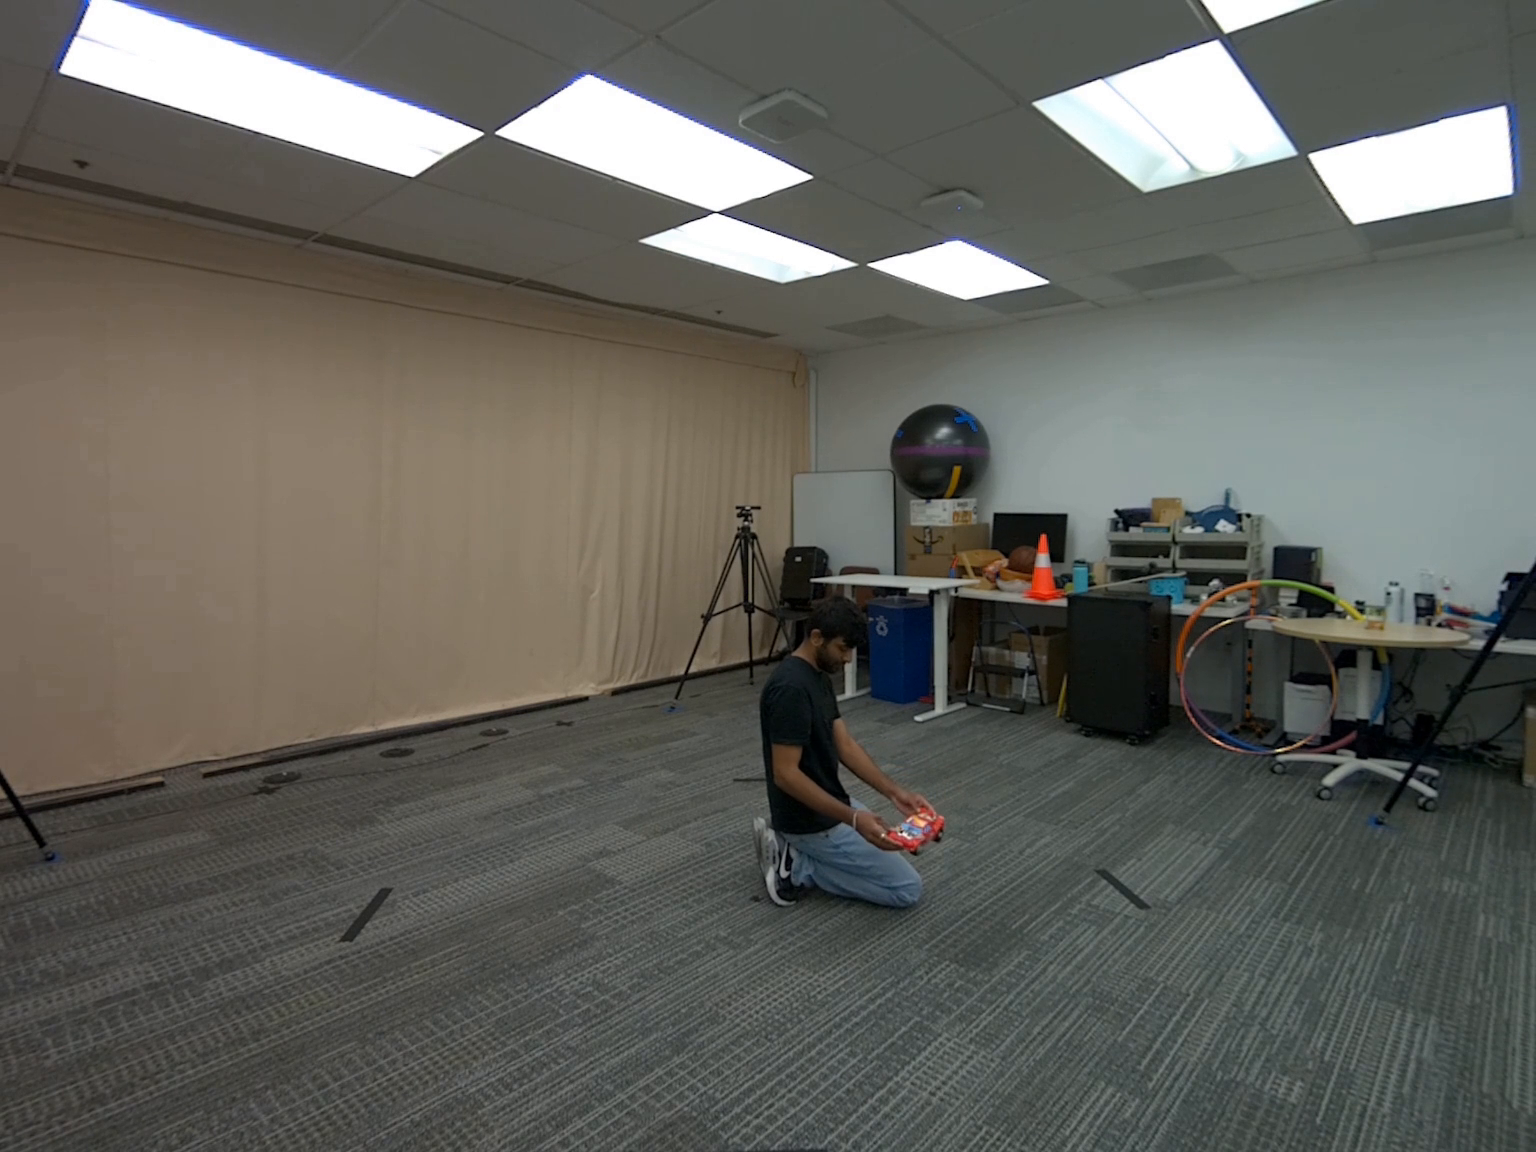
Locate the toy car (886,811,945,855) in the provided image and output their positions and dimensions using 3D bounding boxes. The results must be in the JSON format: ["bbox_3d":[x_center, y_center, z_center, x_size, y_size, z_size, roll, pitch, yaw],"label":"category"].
[{"bbox_3d":[0.481,0.815,2.693,0.135,0.082,0.248,10,20,37],"label":"toy car"}]
